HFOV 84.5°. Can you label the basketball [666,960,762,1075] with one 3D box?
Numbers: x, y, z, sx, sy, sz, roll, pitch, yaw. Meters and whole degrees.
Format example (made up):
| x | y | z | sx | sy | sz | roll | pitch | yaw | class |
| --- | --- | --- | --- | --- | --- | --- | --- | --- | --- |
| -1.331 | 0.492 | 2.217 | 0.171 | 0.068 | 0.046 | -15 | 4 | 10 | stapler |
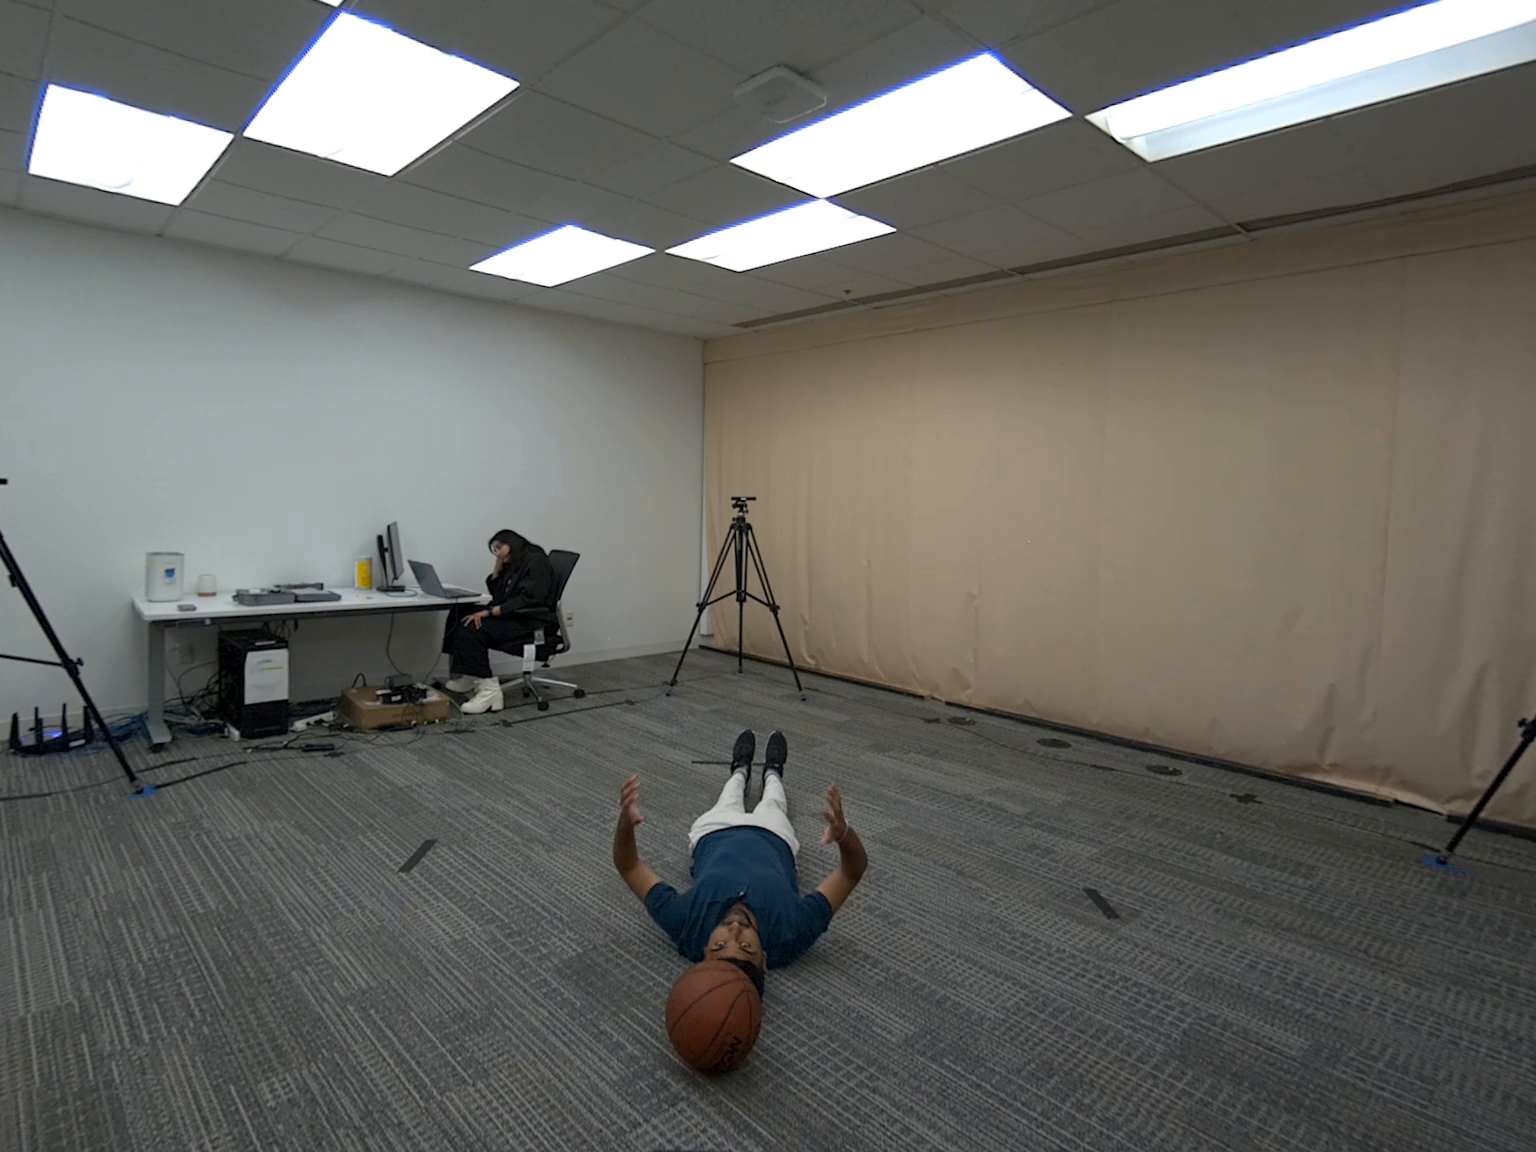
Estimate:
| x | y | z | sx | sy | sz | roll | pitch | yaw | class |
| --- | --- | --- | --- | --- | --- | --- | --- | --- | --- |
| -0.136 | 1.081 | 2.070 | 0.236 | 0.235 | 0.237 | 1 | 4 | -1 | basketball |
